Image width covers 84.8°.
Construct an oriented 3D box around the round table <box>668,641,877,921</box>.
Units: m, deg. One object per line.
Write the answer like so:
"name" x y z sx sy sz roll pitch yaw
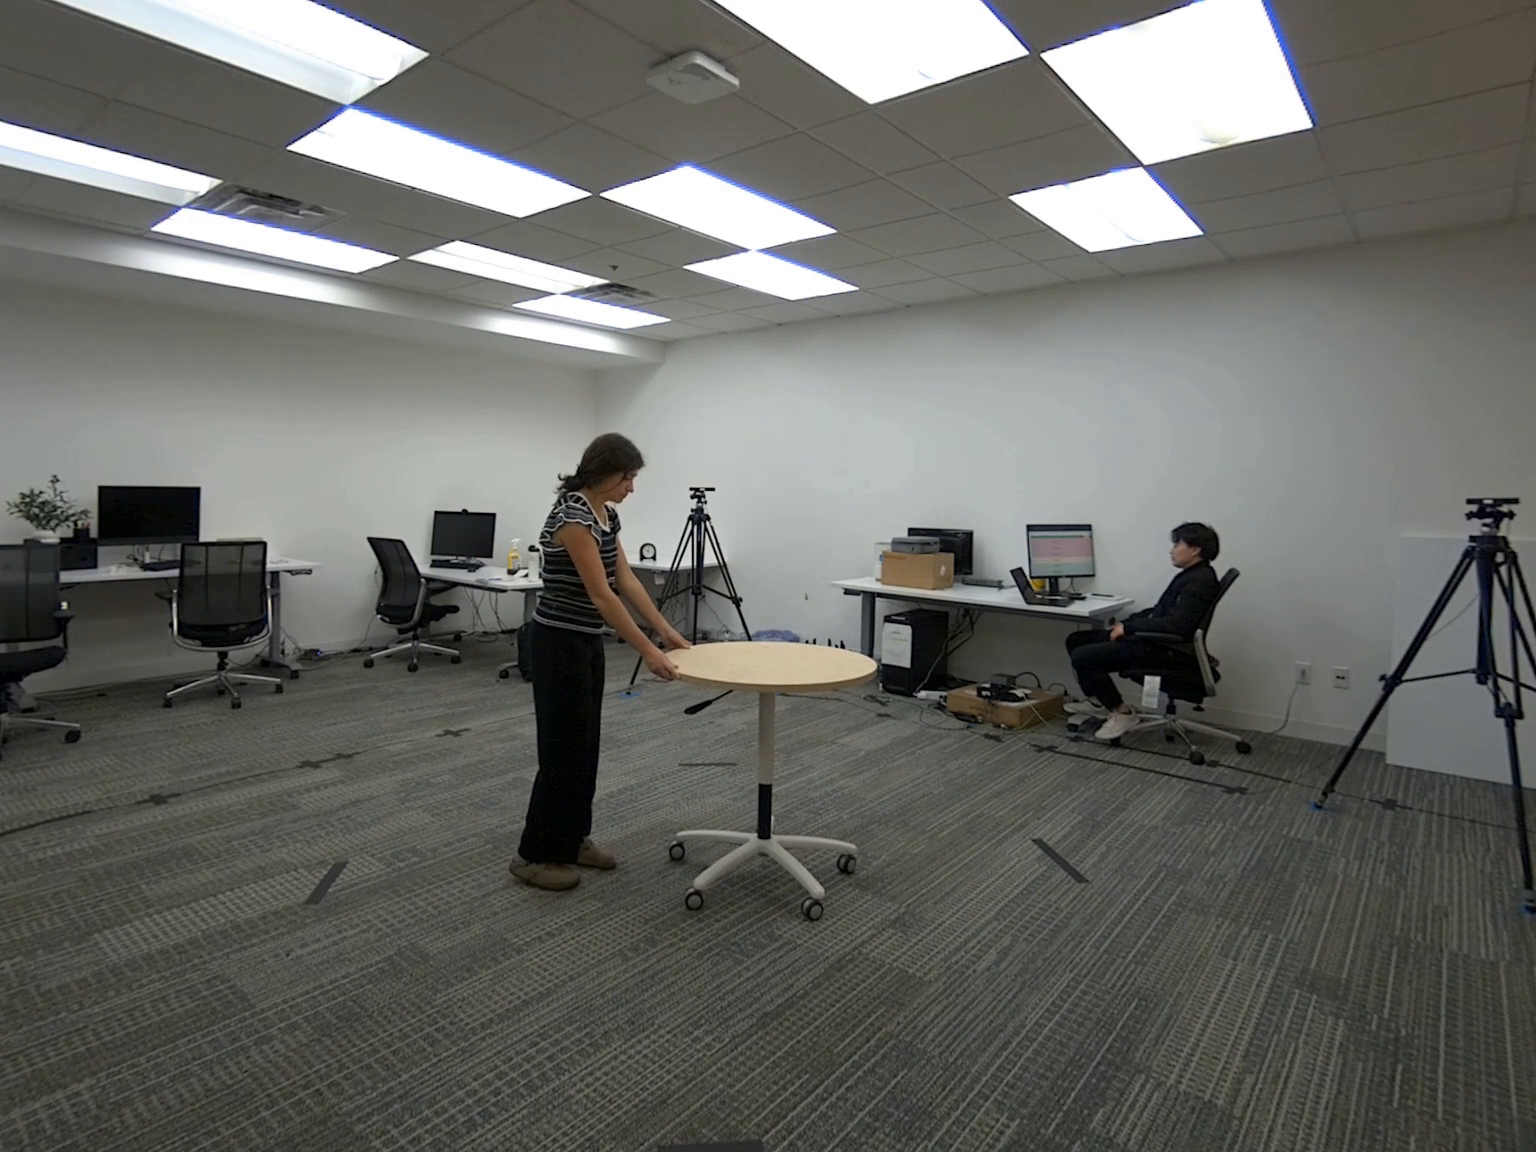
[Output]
"round table" -0.017 0.692 3.041 0.763 0.791 0.768 1 4 -2
